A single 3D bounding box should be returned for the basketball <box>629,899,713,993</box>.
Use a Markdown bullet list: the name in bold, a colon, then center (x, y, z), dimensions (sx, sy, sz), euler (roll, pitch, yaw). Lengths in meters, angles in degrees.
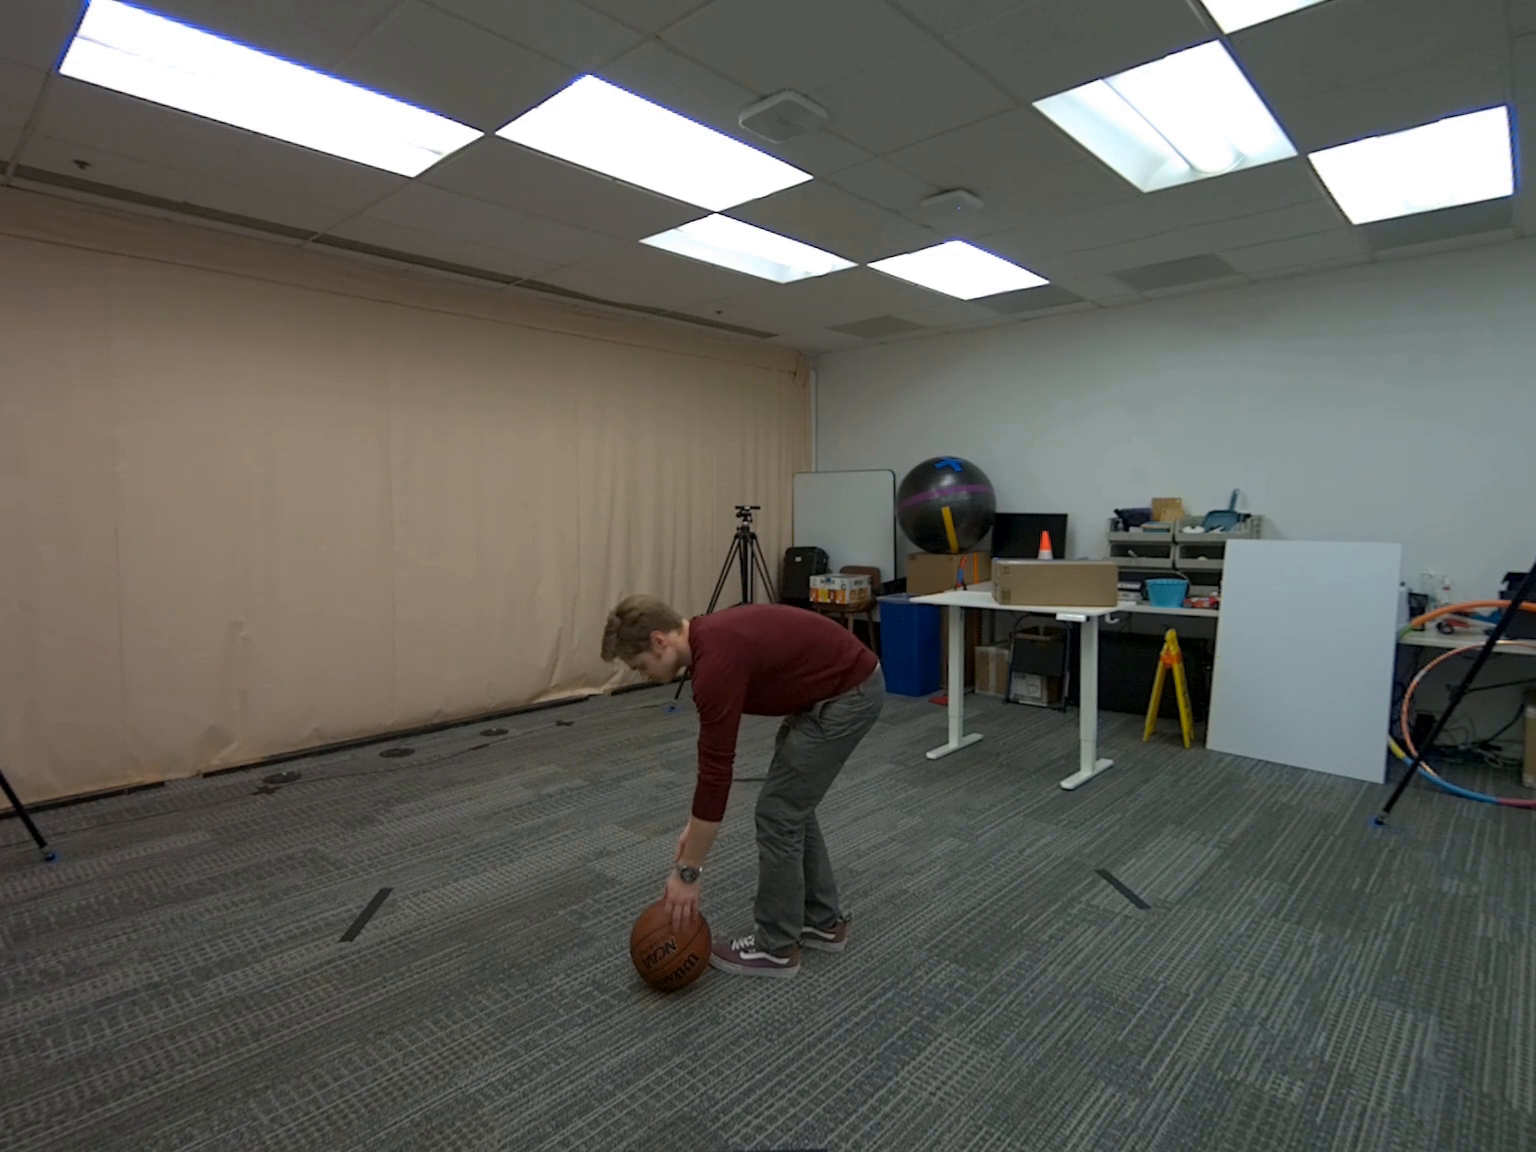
- **basketball**: center (-0.281, 1.067, 2.452), dimensions (0.236, 0.235, 0.237), euler (0, 4, -2)
